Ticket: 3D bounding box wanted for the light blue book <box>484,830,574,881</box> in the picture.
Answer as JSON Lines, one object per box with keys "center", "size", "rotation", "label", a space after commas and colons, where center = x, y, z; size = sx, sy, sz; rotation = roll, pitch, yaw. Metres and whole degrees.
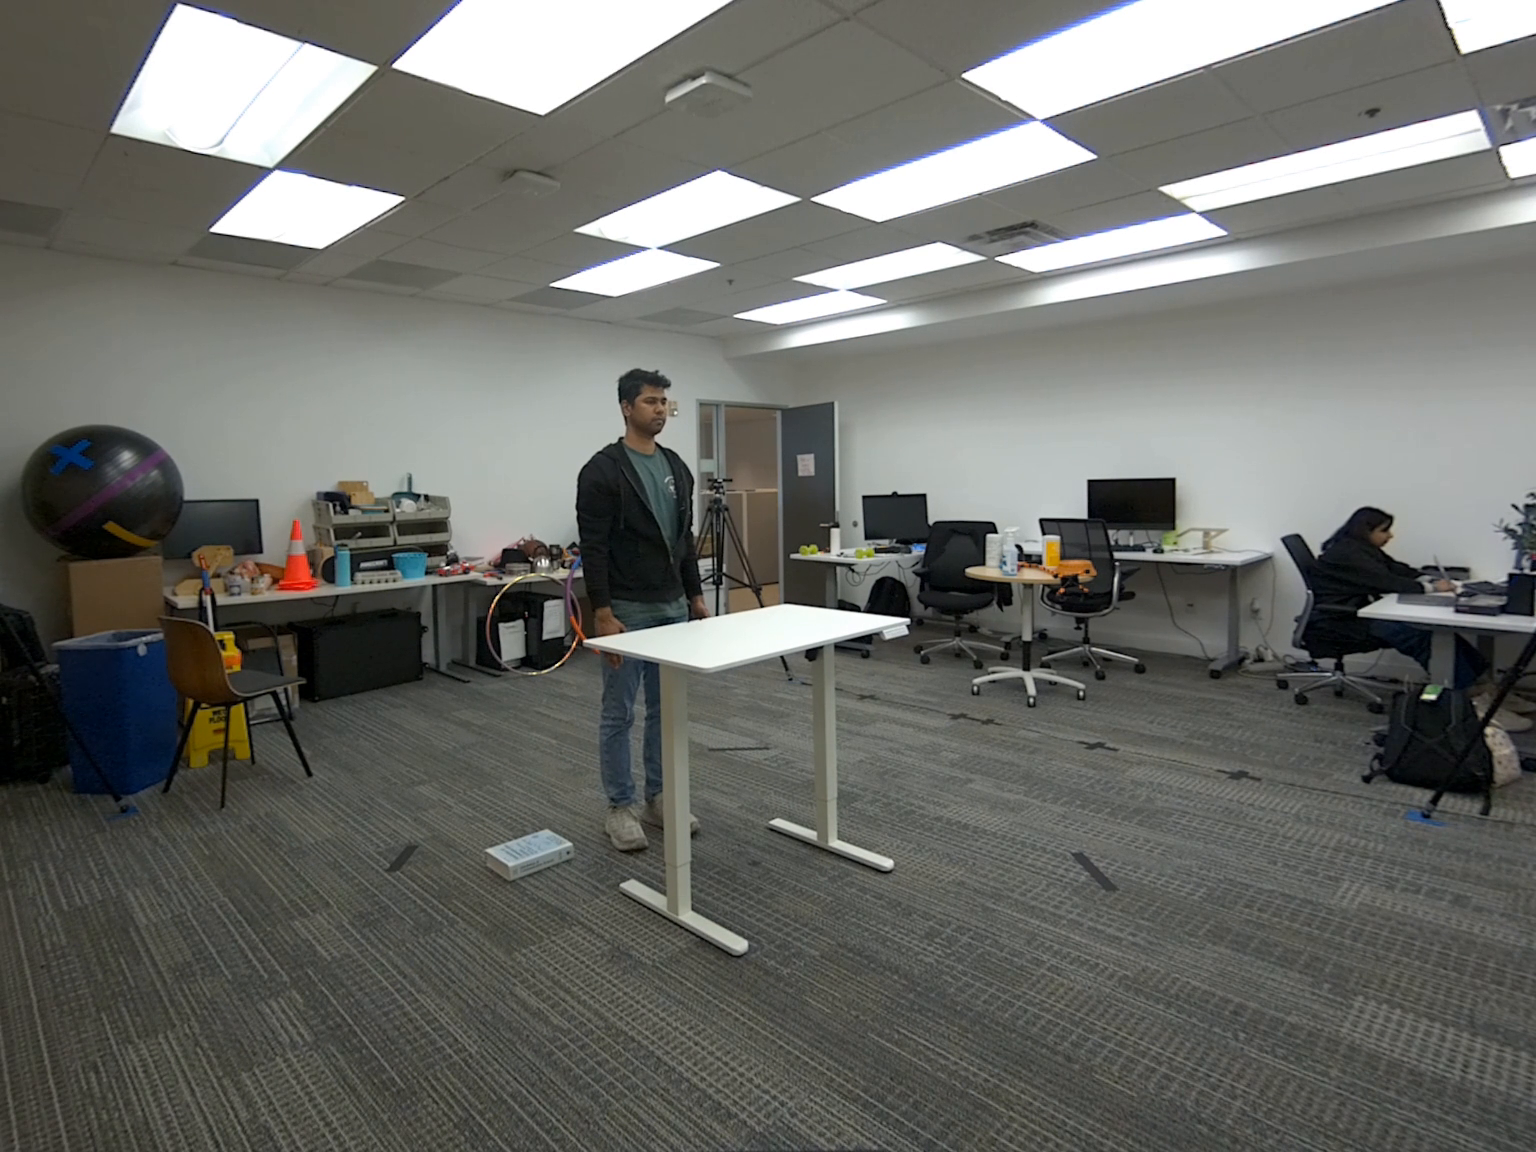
{"center": [-0.876, 1.026, 3.149], "size": [0.254, 0.059, 0.197], "rotation": [-8, 8, -43], "label": "light blue book"}
